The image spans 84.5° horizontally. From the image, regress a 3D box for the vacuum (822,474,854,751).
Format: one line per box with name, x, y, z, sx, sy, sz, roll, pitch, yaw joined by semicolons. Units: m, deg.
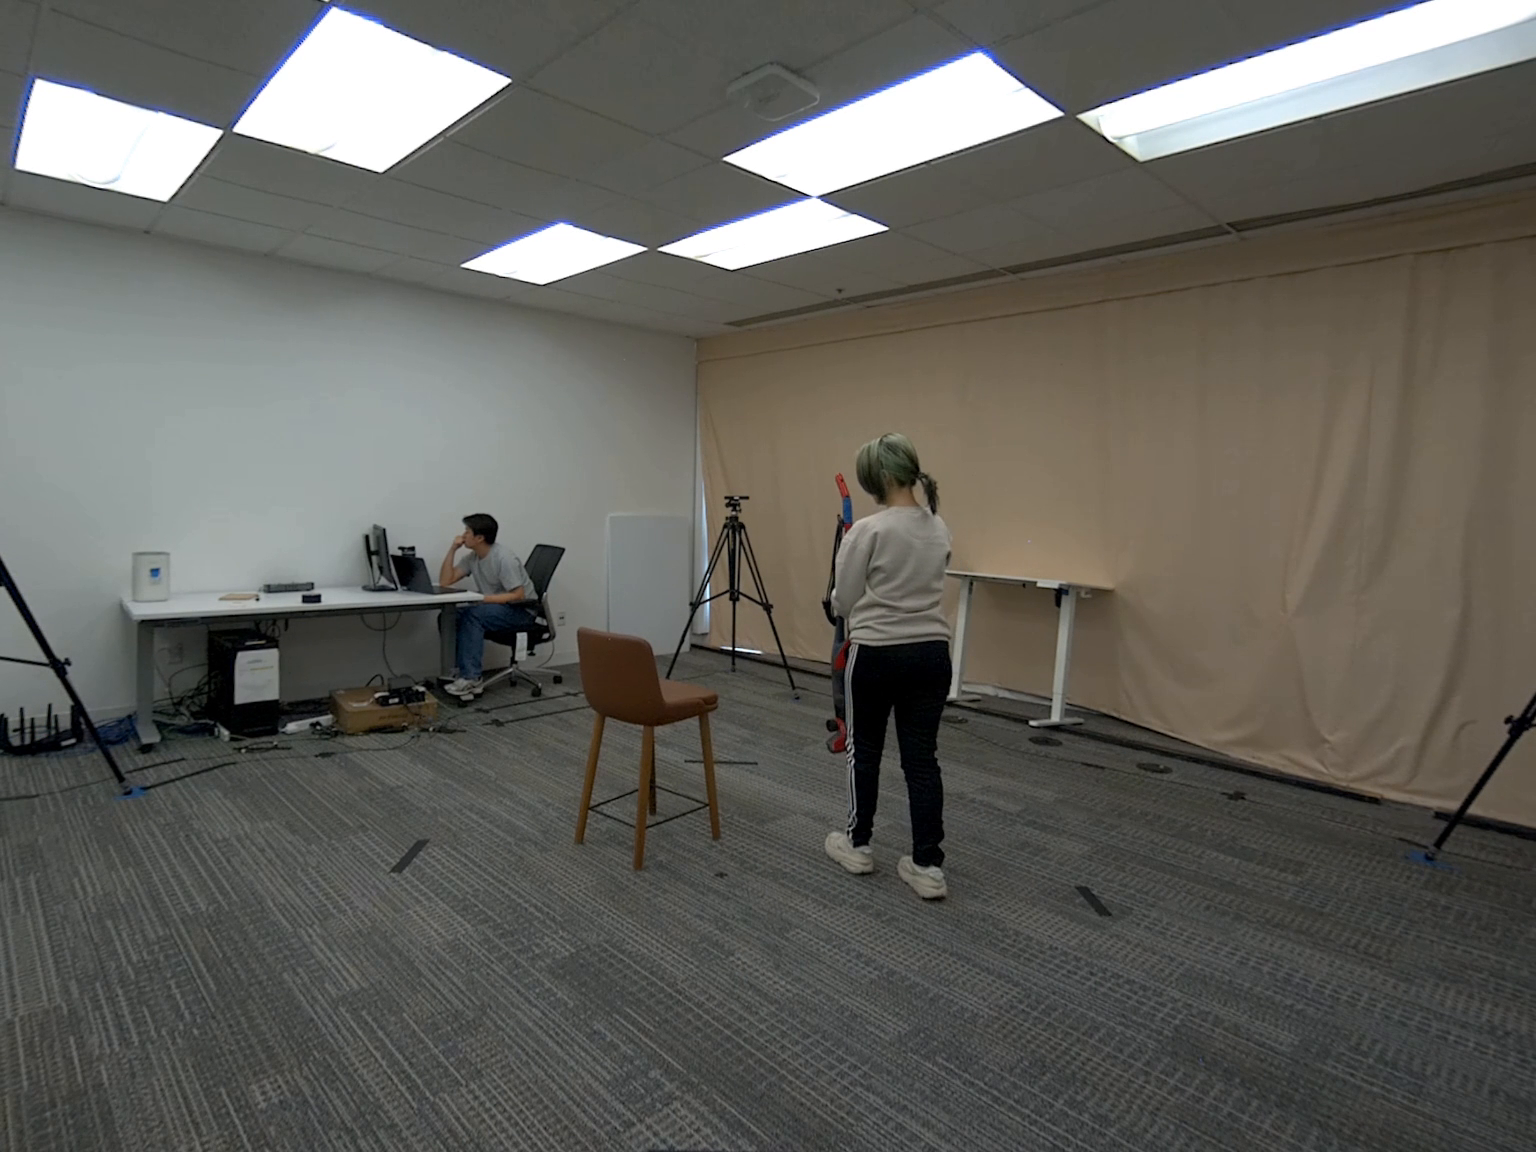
vacuum;0.294;0.115;3.416;0.248;1.047;0.147;-5;3;-32
